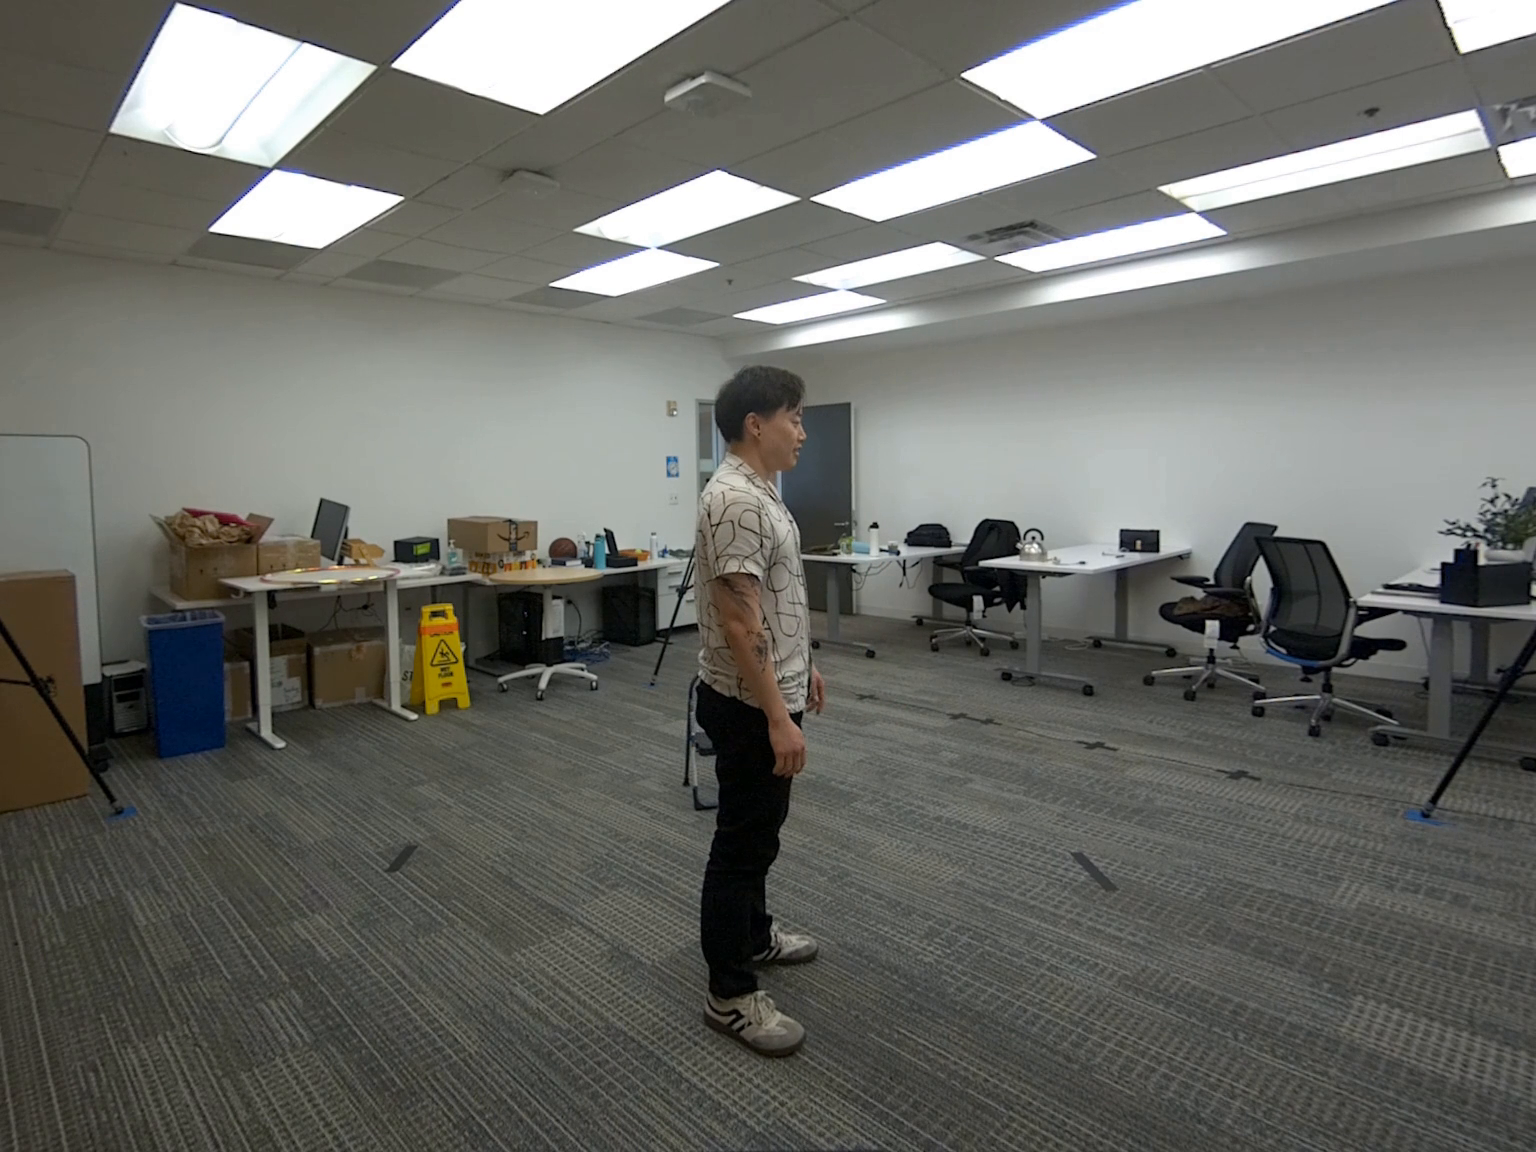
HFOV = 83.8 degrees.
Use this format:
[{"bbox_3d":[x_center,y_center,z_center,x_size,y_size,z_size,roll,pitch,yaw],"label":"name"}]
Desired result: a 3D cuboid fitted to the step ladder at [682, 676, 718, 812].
[{"bbox_3d":[-0.154,0.669,3.793,0.426,0.604,0.354,-2,4,-12],"label":"step ladder"}]
